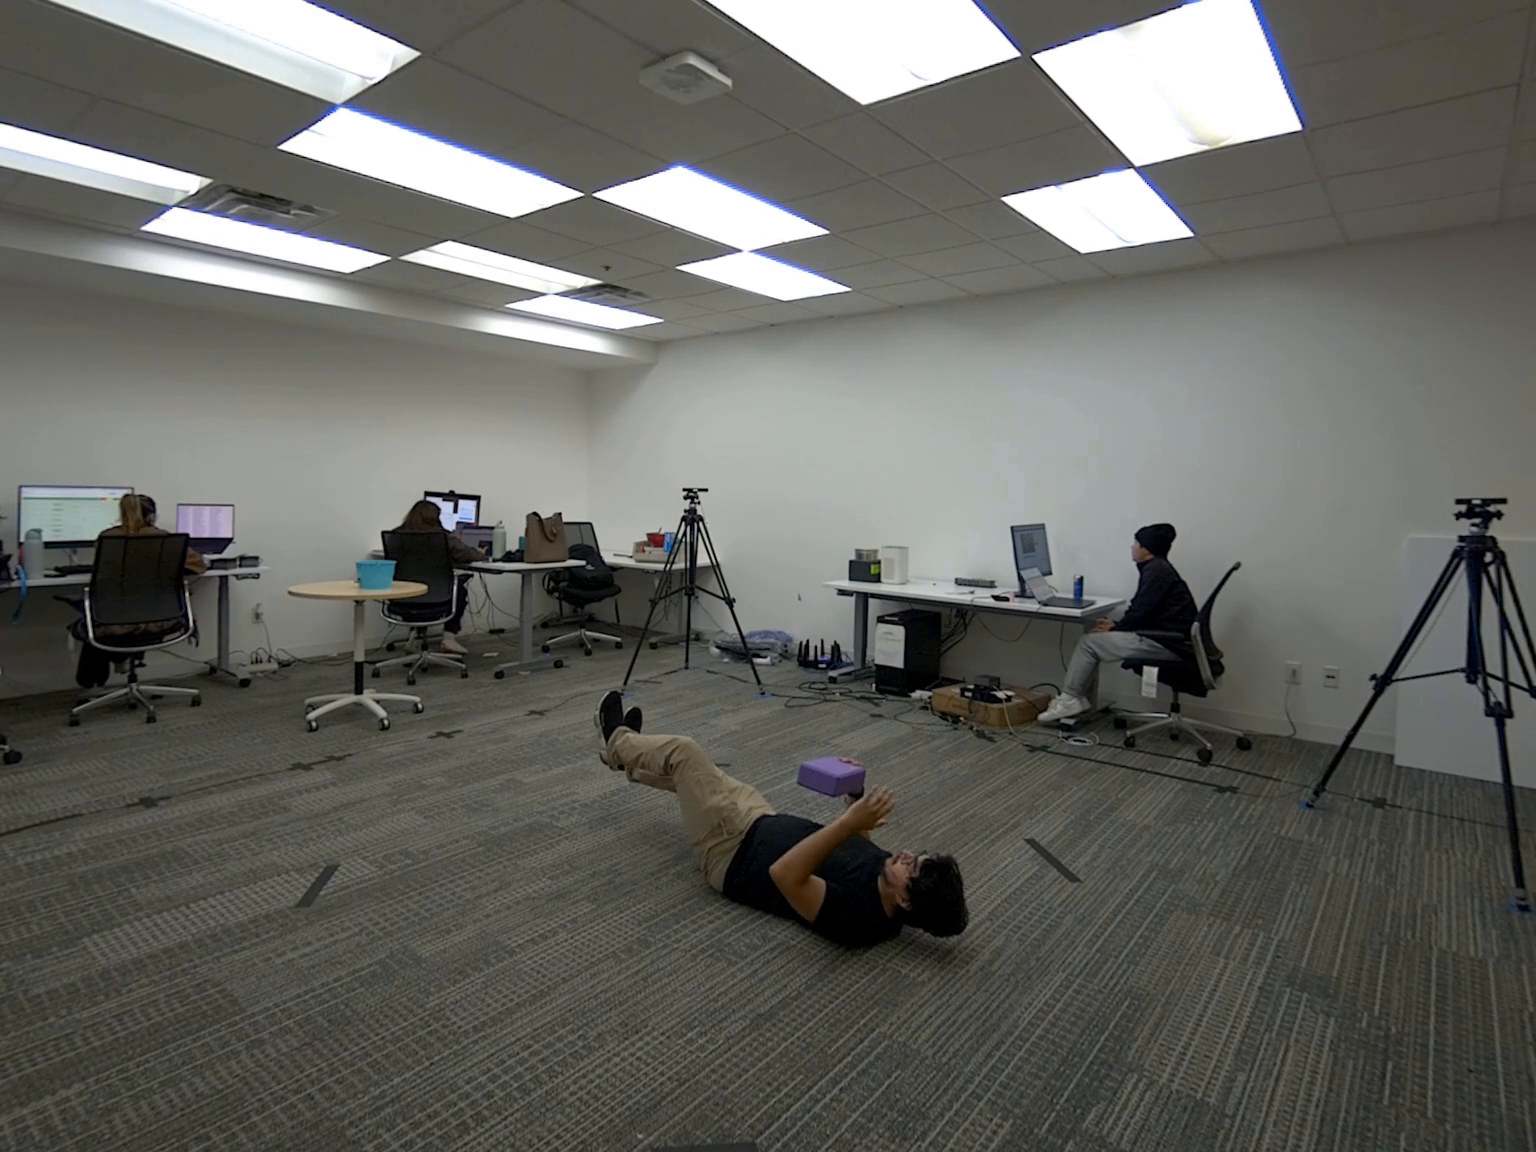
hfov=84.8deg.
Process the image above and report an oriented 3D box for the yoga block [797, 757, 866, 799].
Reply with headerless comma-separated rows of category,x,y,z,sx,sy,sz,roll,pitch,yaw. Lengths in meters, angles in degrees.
yoga block,0.210,0.672,2.851,0.153,0.076,0.222,10,1,27
